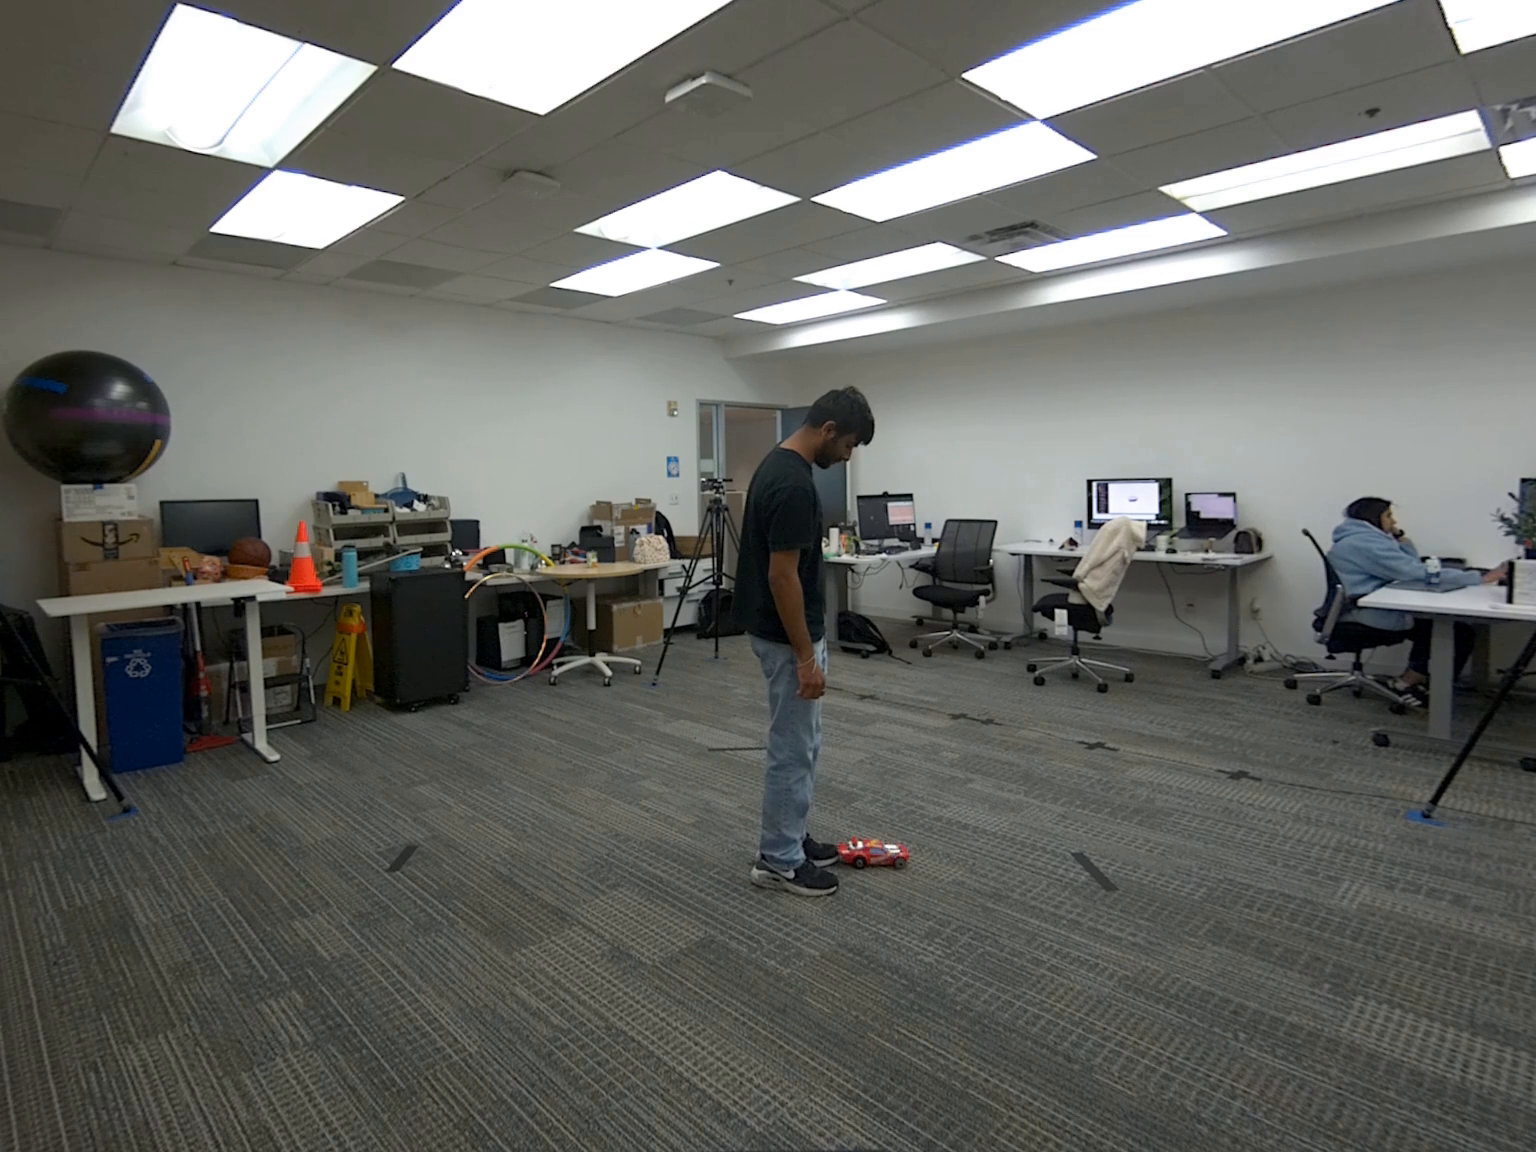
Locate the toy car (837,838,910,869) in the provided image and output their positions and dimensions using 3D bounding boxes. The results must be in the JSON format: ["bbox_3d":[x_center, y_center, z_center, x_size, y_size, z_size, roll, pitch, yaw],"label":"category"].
[{"bbox_3d":[0.374,1.001,3.093,0.255,0.083,0.130,10,6,1],"label":"toy car"}]
